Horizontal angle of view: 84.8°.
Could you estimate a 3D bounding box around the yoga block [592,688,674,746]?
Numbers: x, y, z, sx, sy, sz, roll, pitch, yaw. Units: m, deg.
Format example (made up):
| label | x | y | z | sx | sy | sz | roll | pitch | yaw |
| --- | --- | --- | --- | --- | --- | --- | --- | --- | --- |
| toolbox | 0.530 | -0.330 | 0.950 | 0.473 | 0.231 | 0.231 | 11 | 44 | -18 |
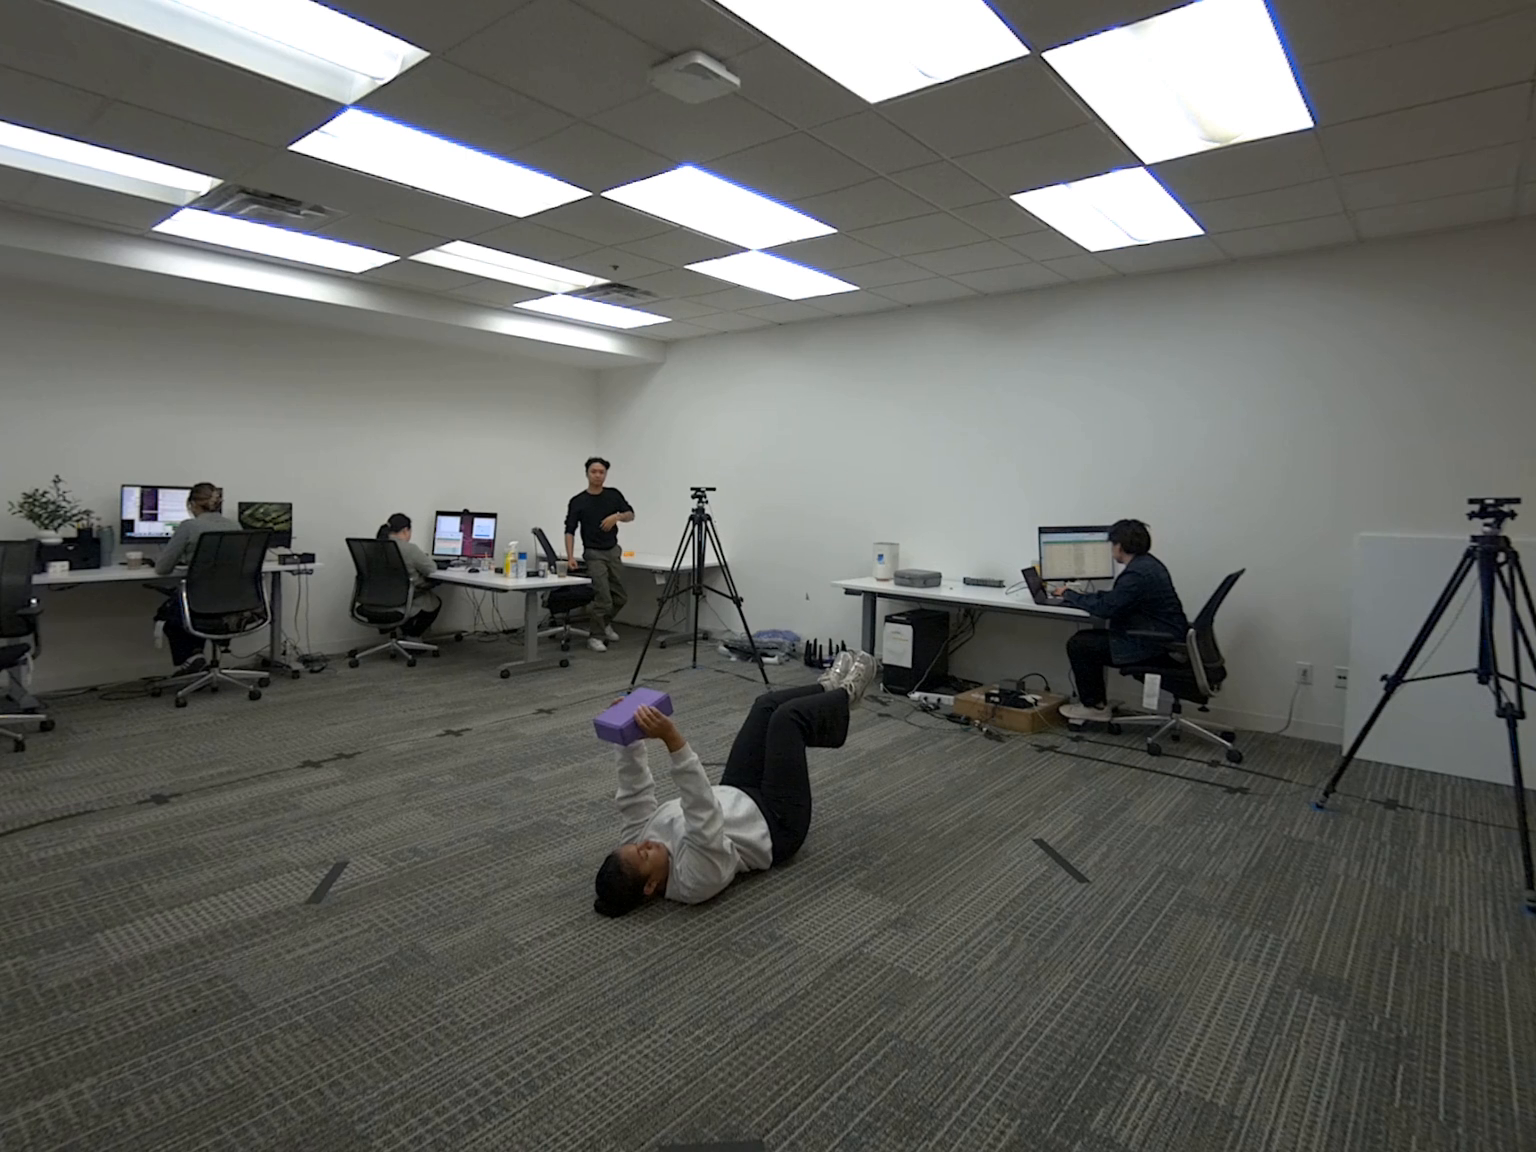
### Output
| label | x | y | z | sx | sy | sz | roll | pitch | yaw |
| --- | --- | --- | --- | --- | --- | --- | --- | --- | --- |
| yoga block | -0.450 | 0.458 | 2.791 | 0.154 | 0.075 | 0.226 | 1 | 23 | 39 |
